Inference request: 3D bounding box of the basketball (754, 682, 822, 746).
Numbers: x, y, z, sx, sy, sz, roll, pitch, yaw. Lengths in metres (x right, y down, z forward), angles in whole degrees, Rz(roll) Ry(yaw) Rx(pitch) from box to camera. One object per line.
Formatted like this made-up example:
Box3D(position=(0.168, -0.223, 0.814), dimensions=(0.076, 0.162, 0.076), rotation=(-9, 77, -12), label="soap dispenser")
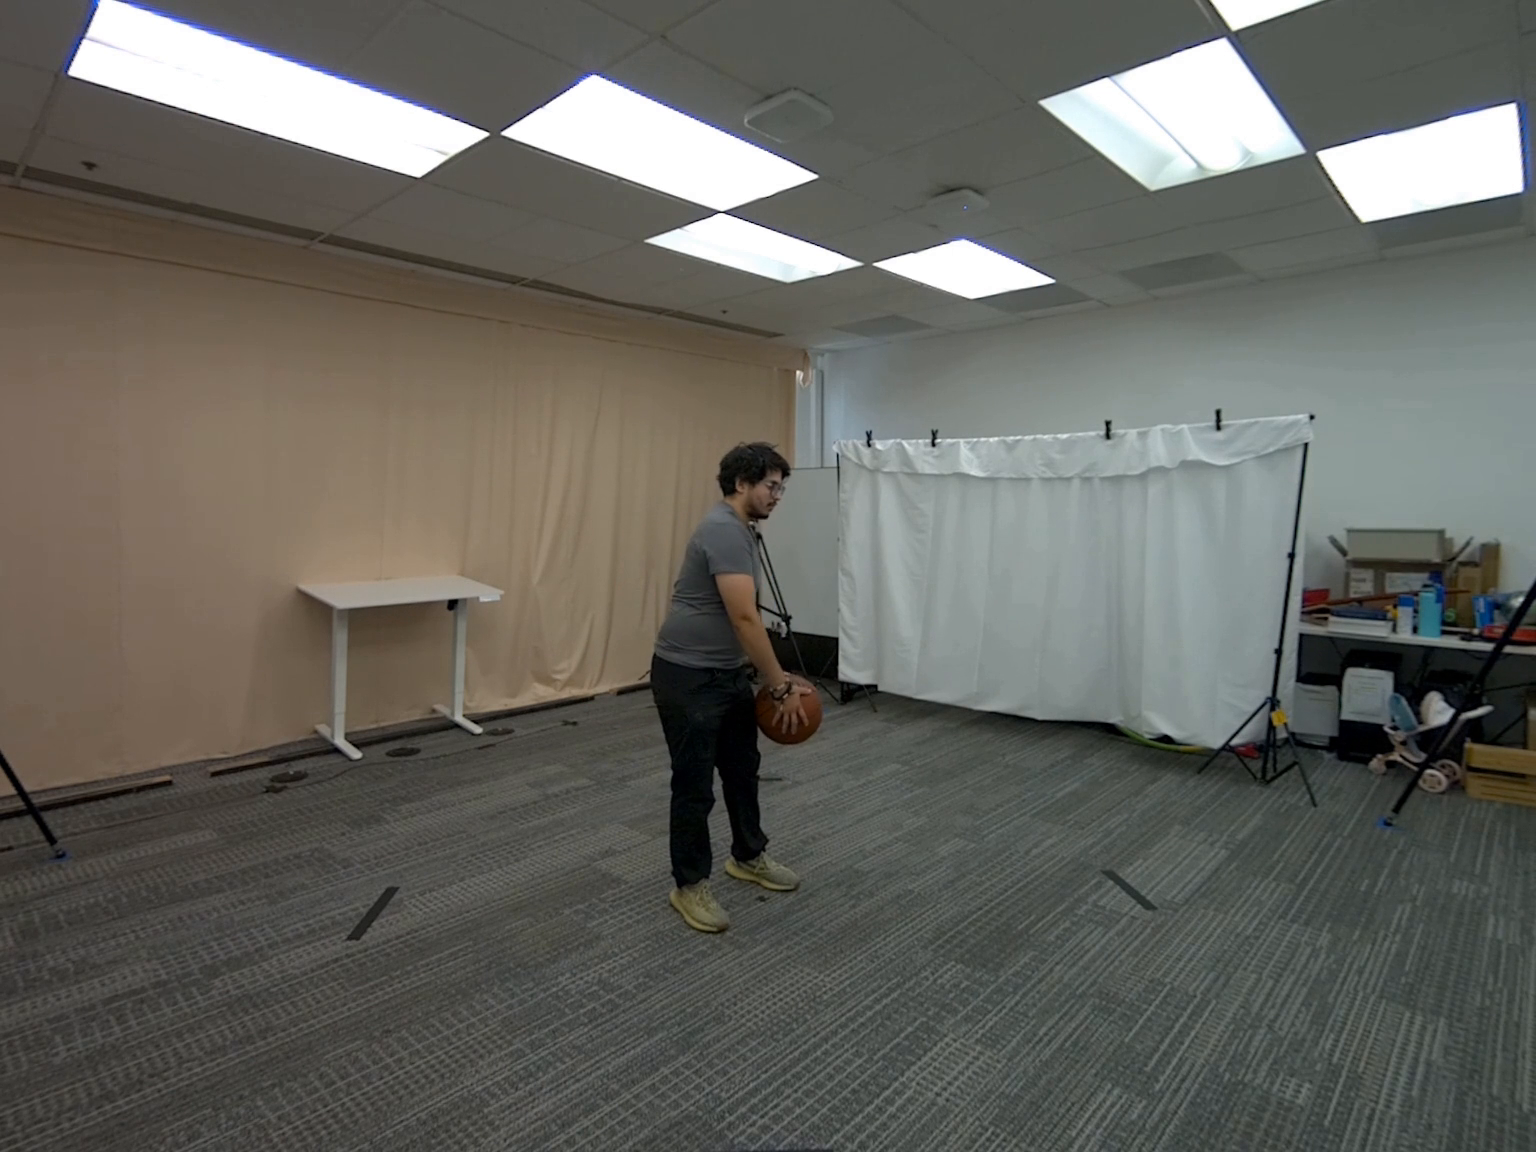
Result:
Box3D(position=(0.072, 0.458, 2.898), dimensions=(0.236, 0.235, 0.237), rotation=(0, 4, -2), label="basketball")
